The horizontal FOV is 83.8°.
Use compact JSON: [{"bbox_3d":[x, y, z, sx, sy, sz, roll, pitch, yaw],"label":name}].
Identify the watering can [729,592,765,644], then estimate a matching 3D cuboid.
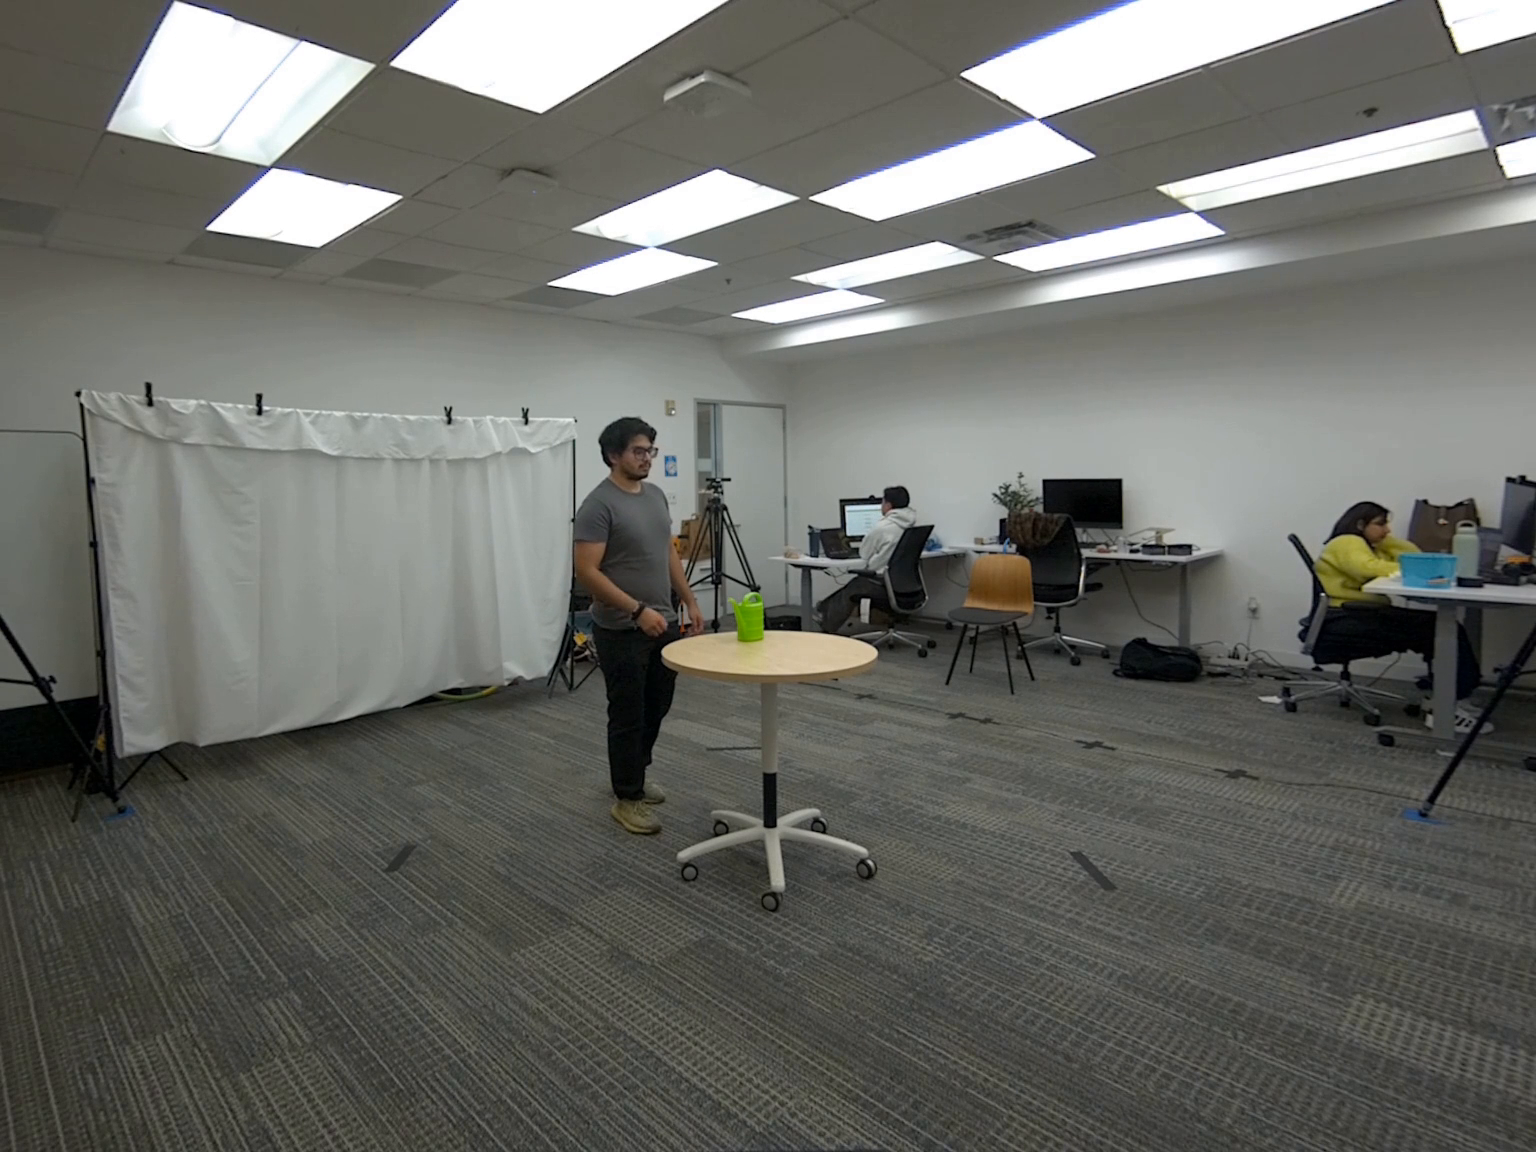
[{"bbox_3d":[-0.098,0.156,3.227,0.101,0.176,0.271,2,4,36],"label":"watering can"}]
